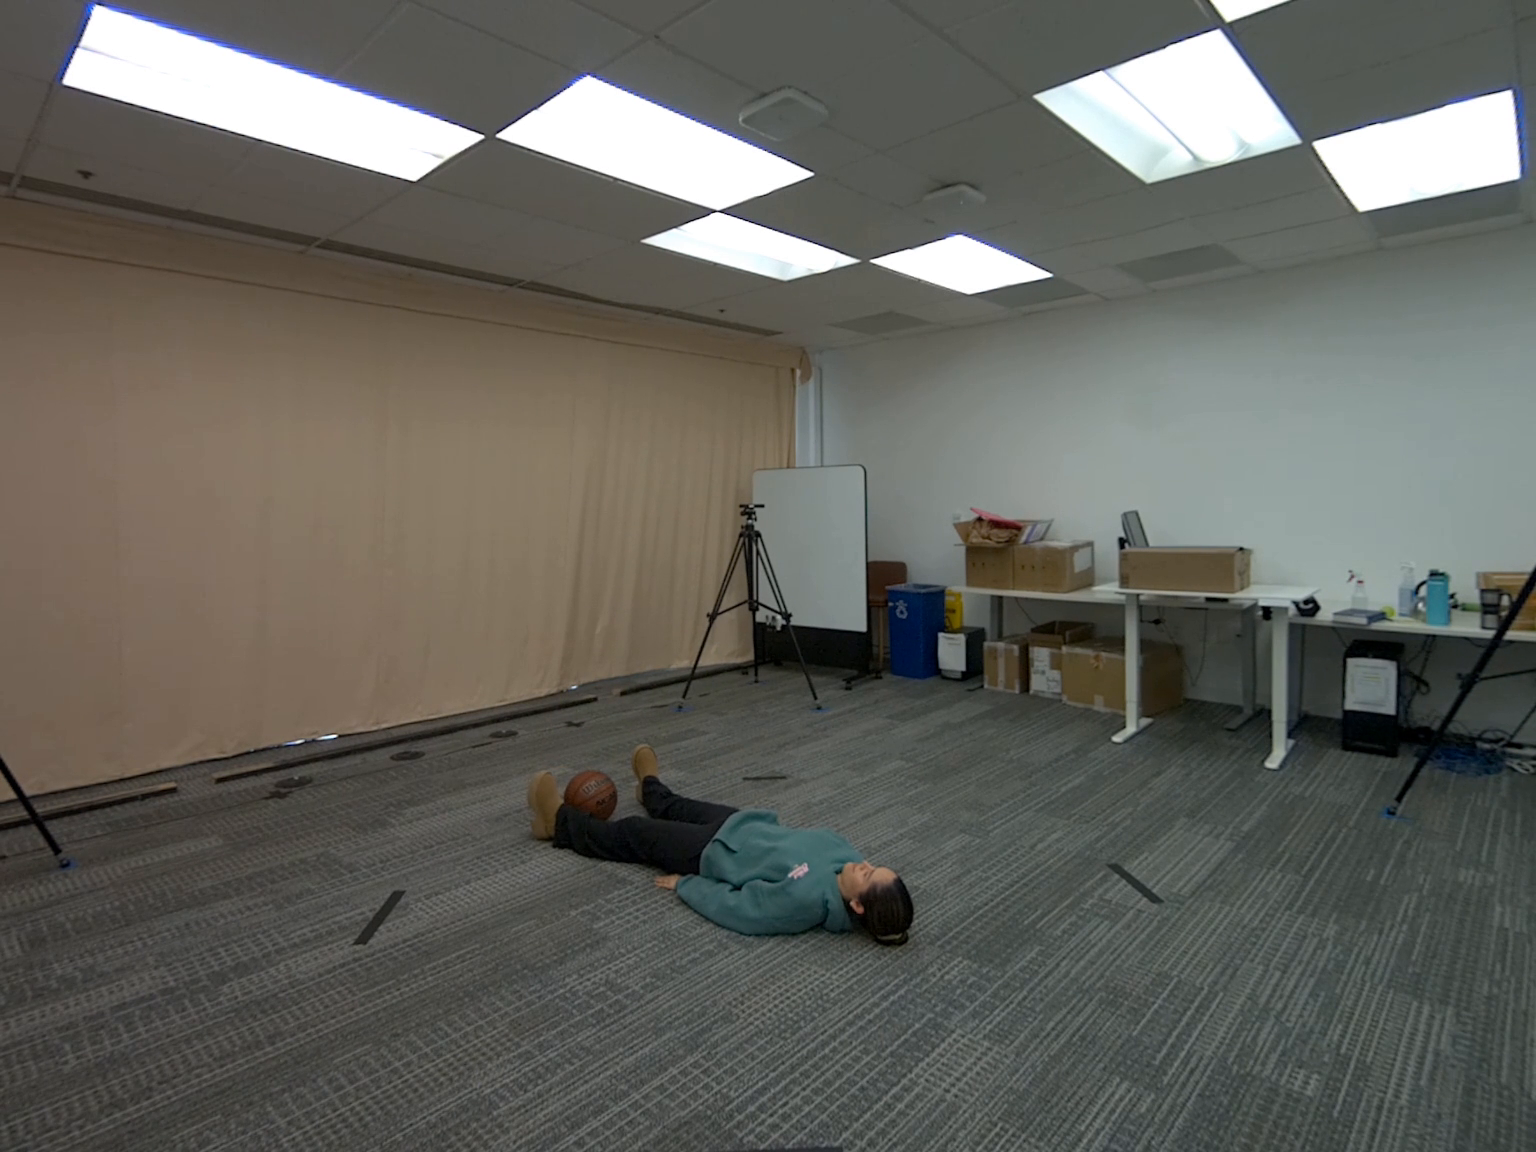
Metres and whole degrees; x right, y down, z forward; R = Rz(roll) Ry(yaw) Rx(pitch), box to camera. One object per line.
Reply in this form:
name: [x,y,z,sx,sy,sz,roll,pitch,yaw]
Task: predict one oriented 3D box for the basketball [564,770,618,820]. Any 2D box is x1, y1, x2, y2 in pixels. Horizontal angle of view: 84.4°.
basketball: [-0.779,0.978,3.705,0.236,0.235,0.237,0,4,-2]
